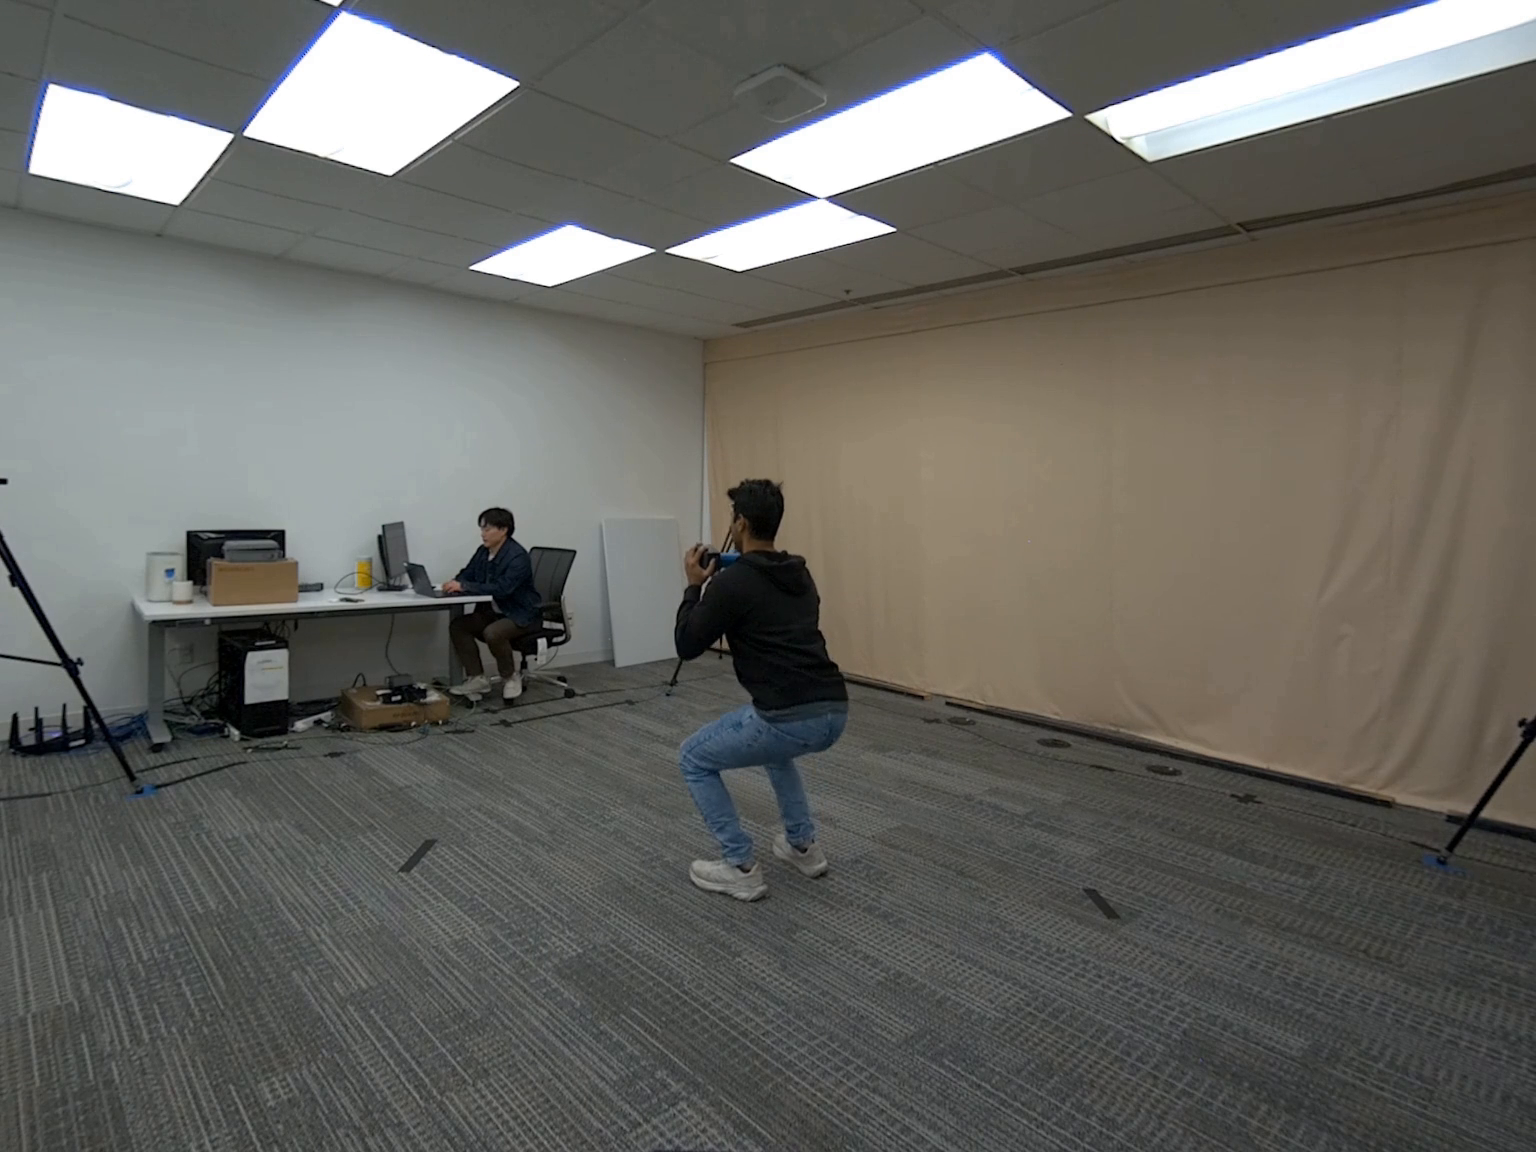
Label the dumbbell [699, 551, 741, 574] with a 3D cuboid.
[{"bbox_3d":[-0.154,-0.055,3.230,0.287,0.123,0.111,-3,4,-39],"label":"dumbbell"}]
